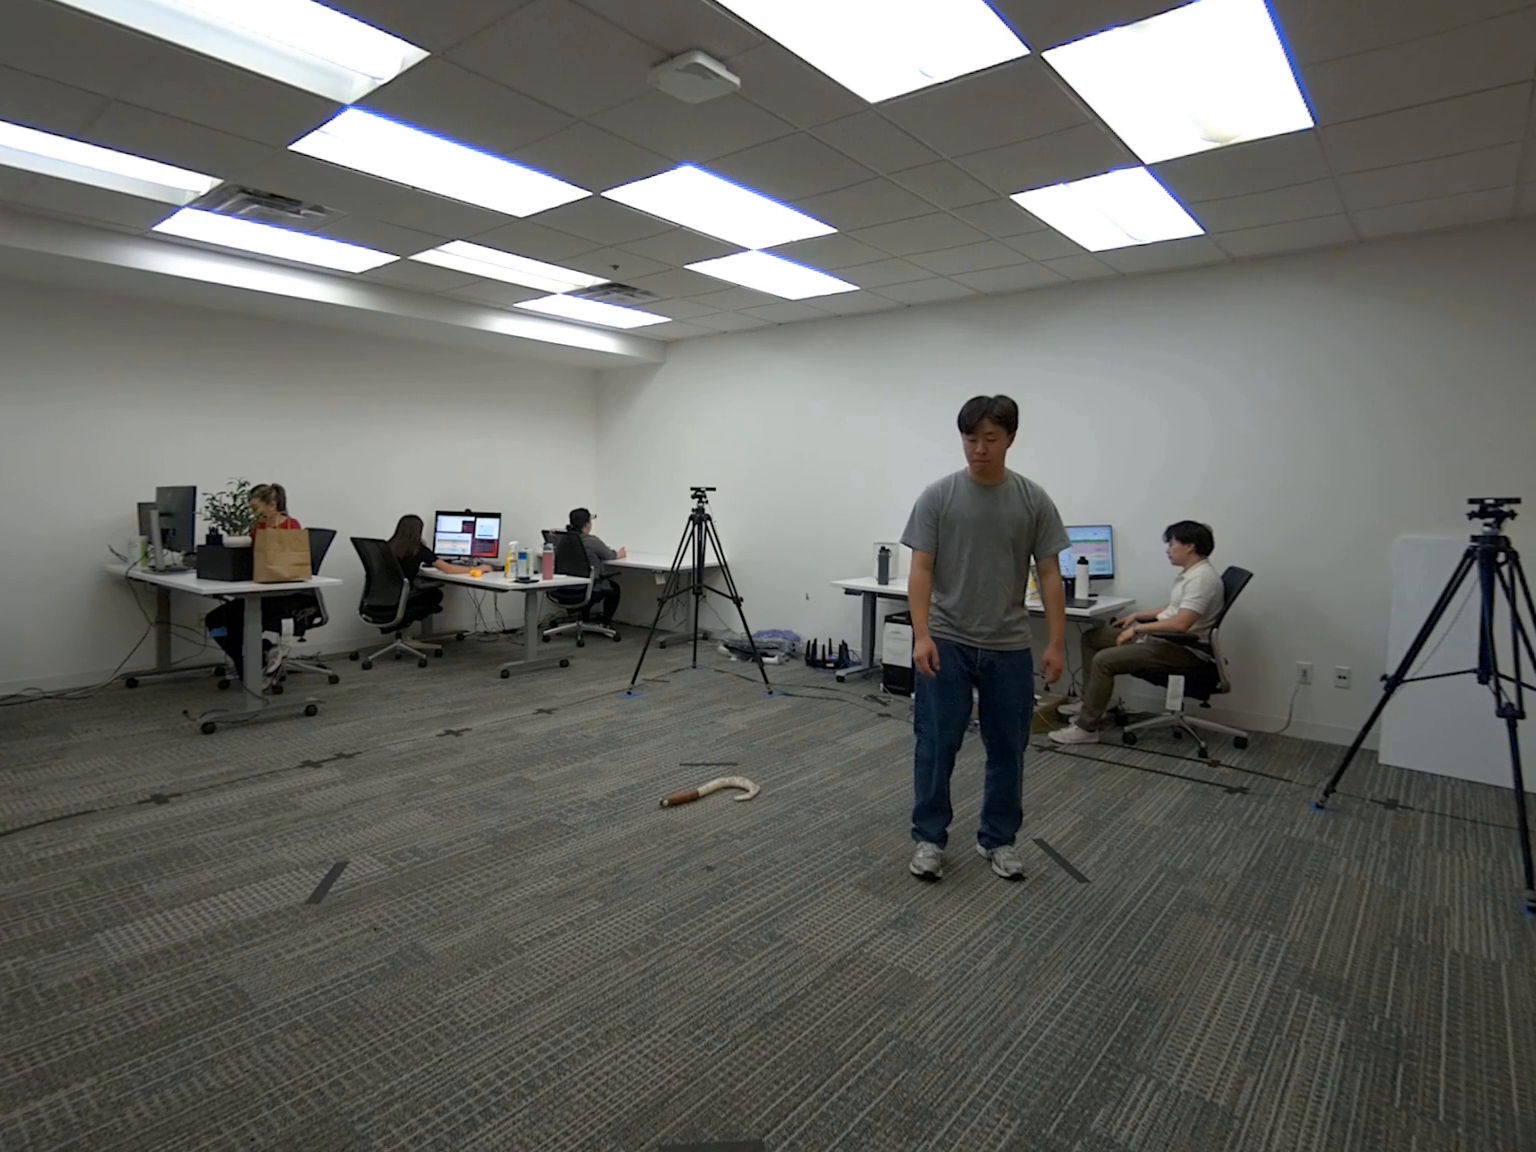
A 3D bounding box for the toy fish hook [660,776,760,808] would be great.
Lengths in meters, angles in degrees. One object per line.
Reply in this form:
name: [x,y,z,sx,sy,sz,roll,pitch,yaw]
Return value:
toy fish hook: [-0.261,0.972,3.804,0.491,0.048,0.232,-5,7,-42]
